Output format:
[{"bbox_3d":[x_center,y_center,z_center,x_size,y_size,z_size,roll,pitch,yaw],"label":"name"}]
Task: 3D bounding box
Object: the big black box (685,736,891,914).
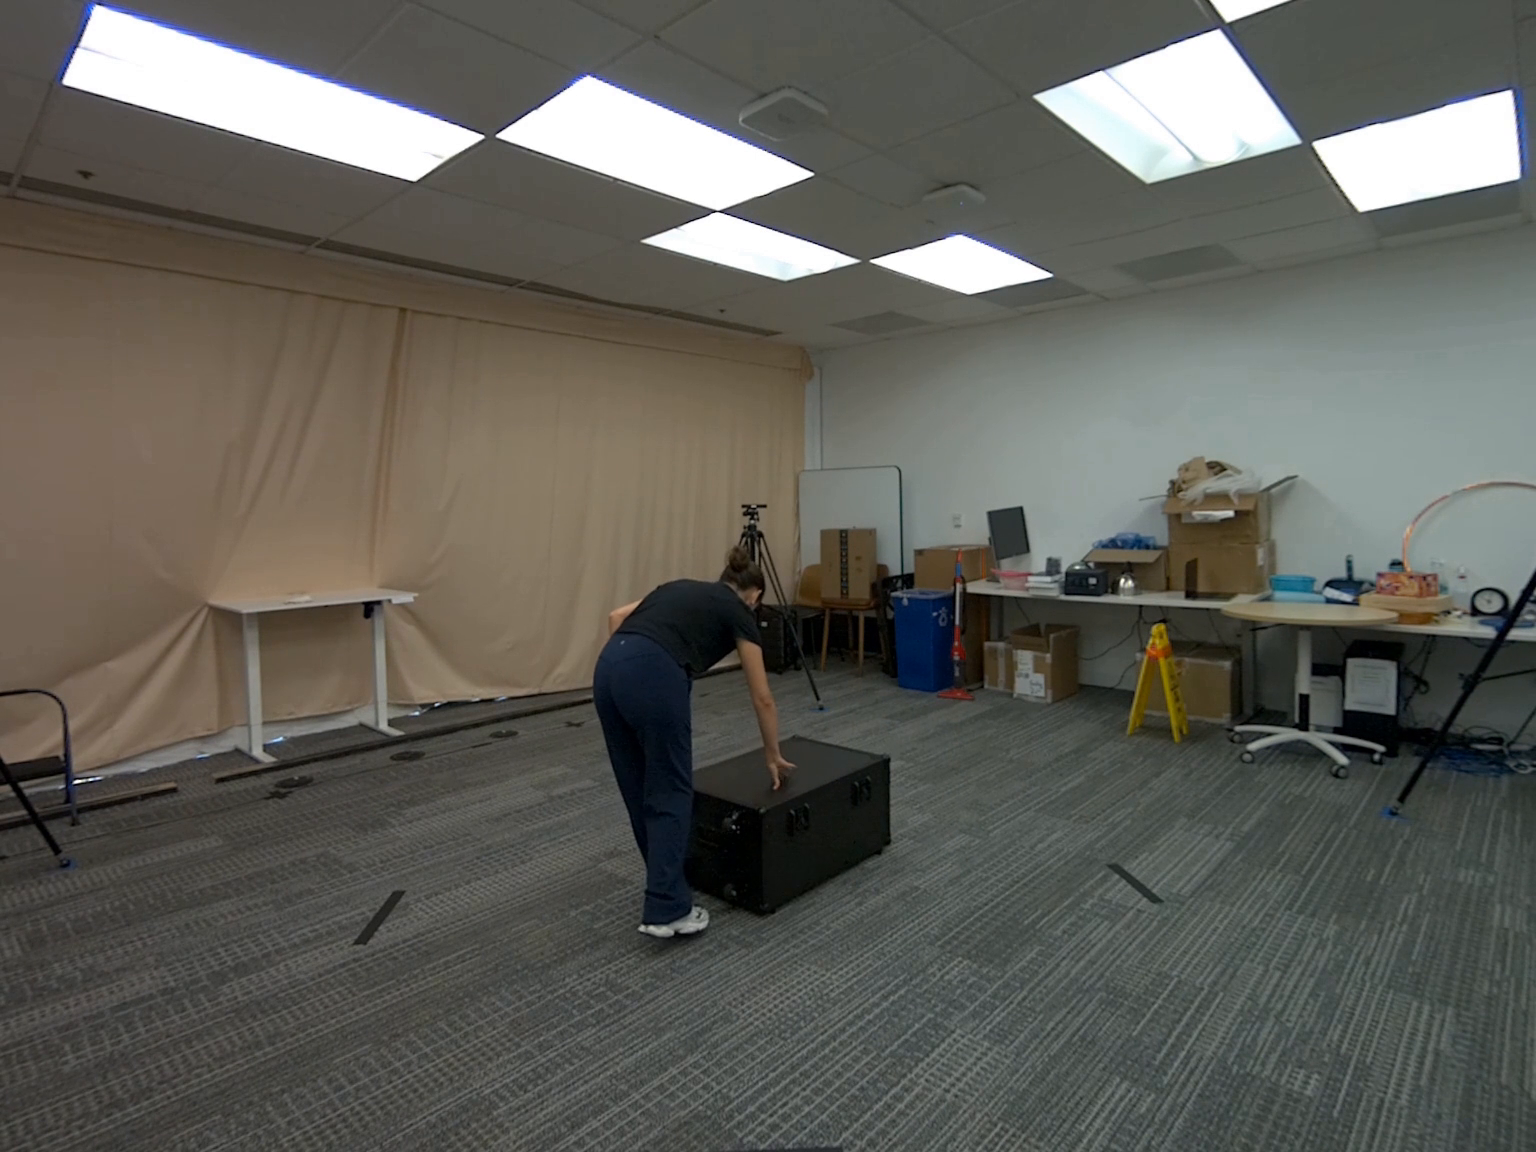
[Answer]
[{"bbox_3d":[0.048,0.911,3.223,0.538,0.395,0.836,3,7,42],"label":"big black box"}]
